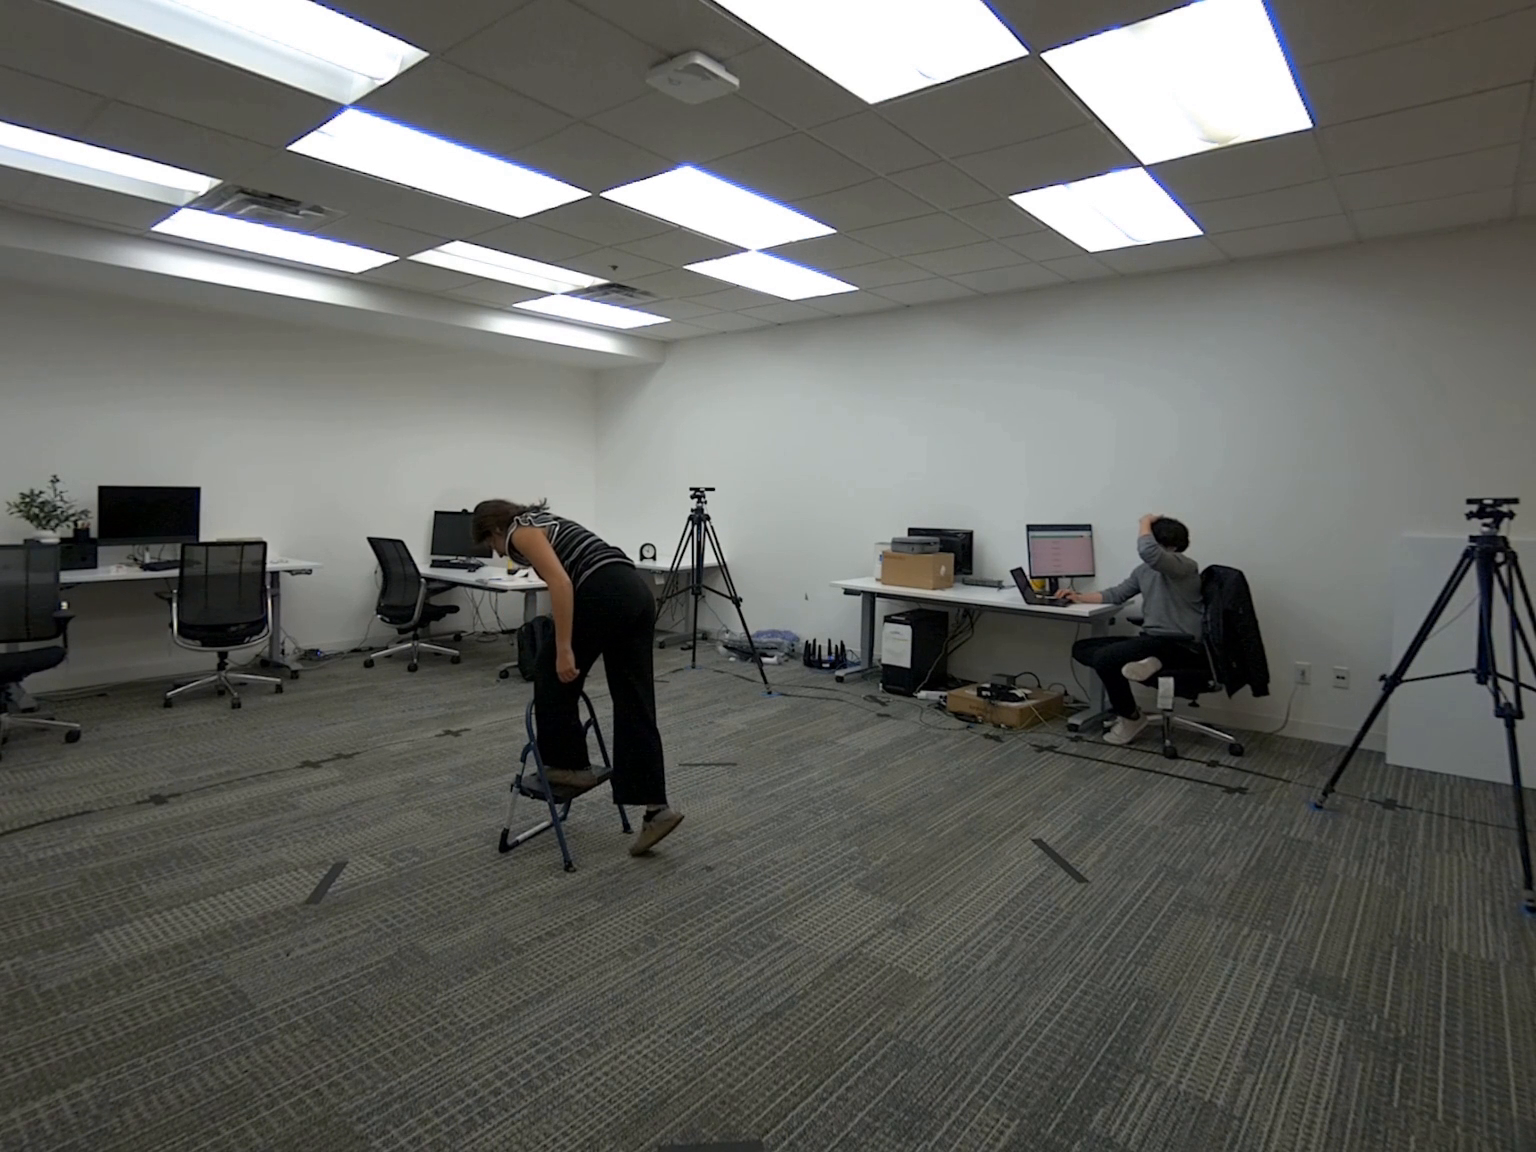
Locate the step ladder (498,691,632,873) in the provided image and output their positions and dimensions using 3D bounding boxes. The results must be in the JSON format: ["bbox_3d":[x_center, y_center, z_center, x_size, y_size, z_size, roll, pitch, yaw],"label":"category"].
[{"bbox_3d":[-0.788,0.737,3.311,0.358,0.604,0.421,3,3,24],"label":"step ladder"}]
